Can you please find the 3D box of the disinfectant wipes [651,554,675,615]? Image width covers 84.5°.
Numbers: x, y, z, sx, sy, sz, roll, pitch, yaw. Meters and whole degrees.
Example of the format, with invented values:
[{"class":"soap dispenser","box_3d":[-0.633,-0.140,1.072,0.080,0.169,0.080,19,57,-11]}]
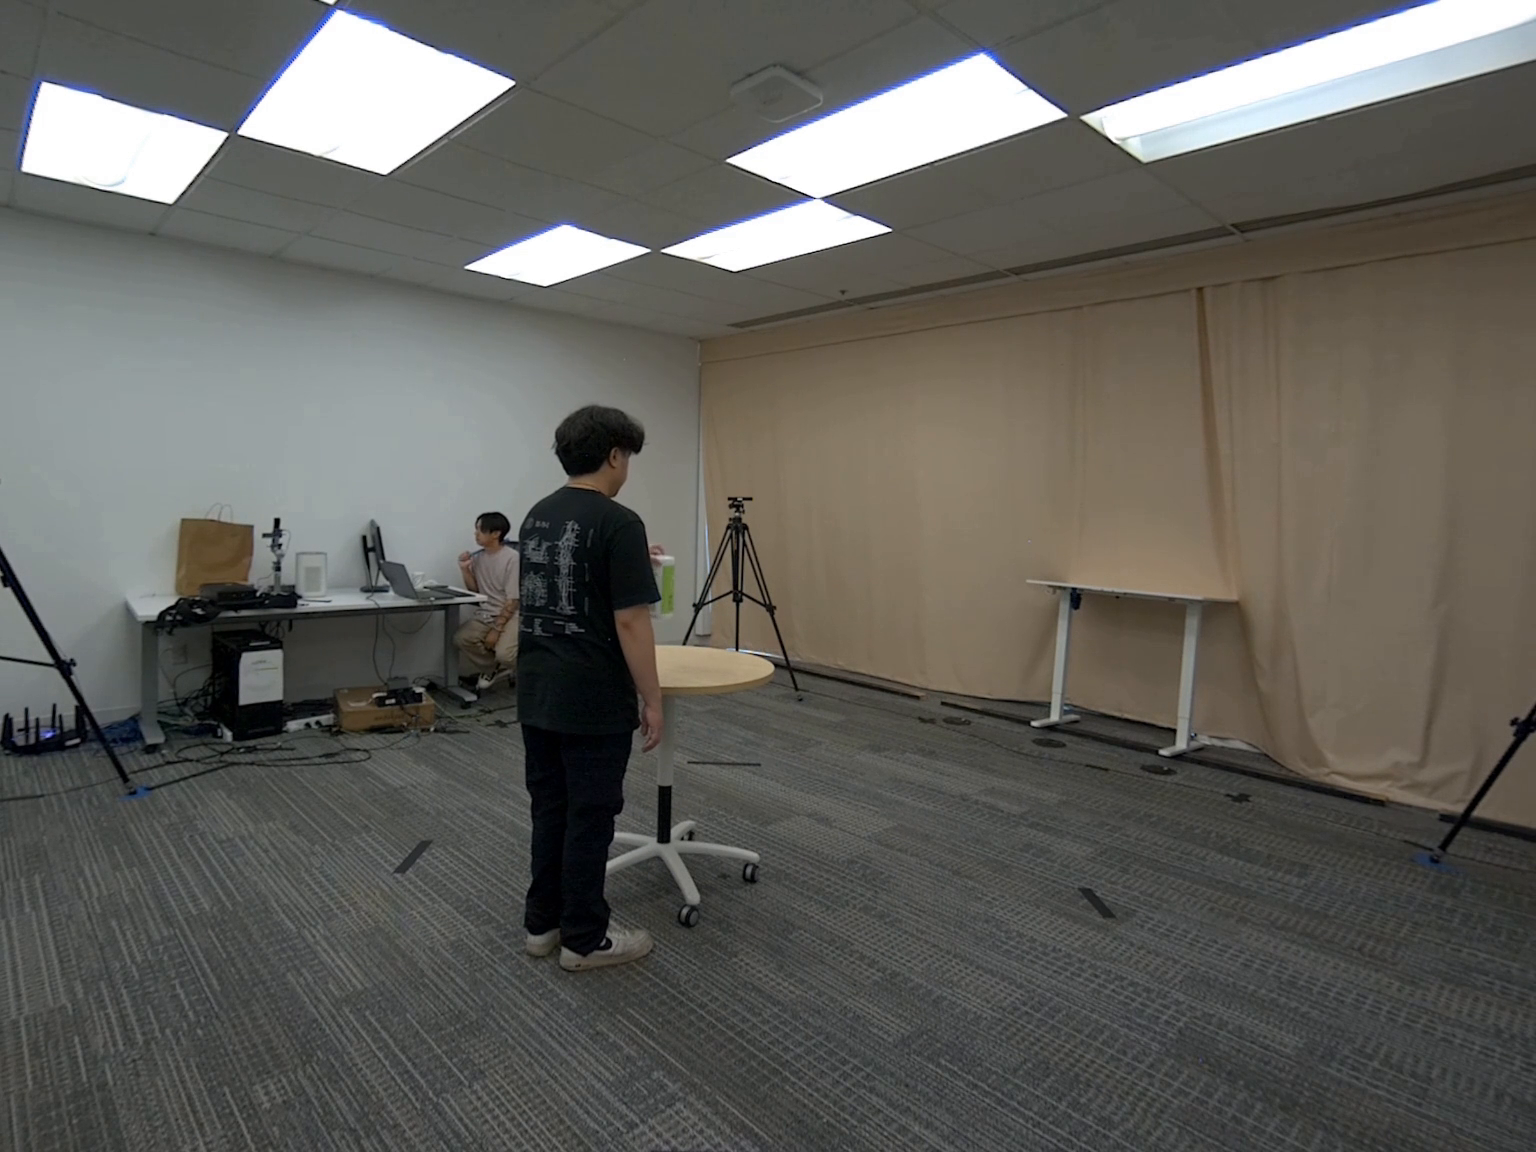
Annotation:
[{"class":"disinfectant wipes","box_3d":[-0.380,0.041,2.938,0.118,0.217,0.118,2,4,-2]}]
